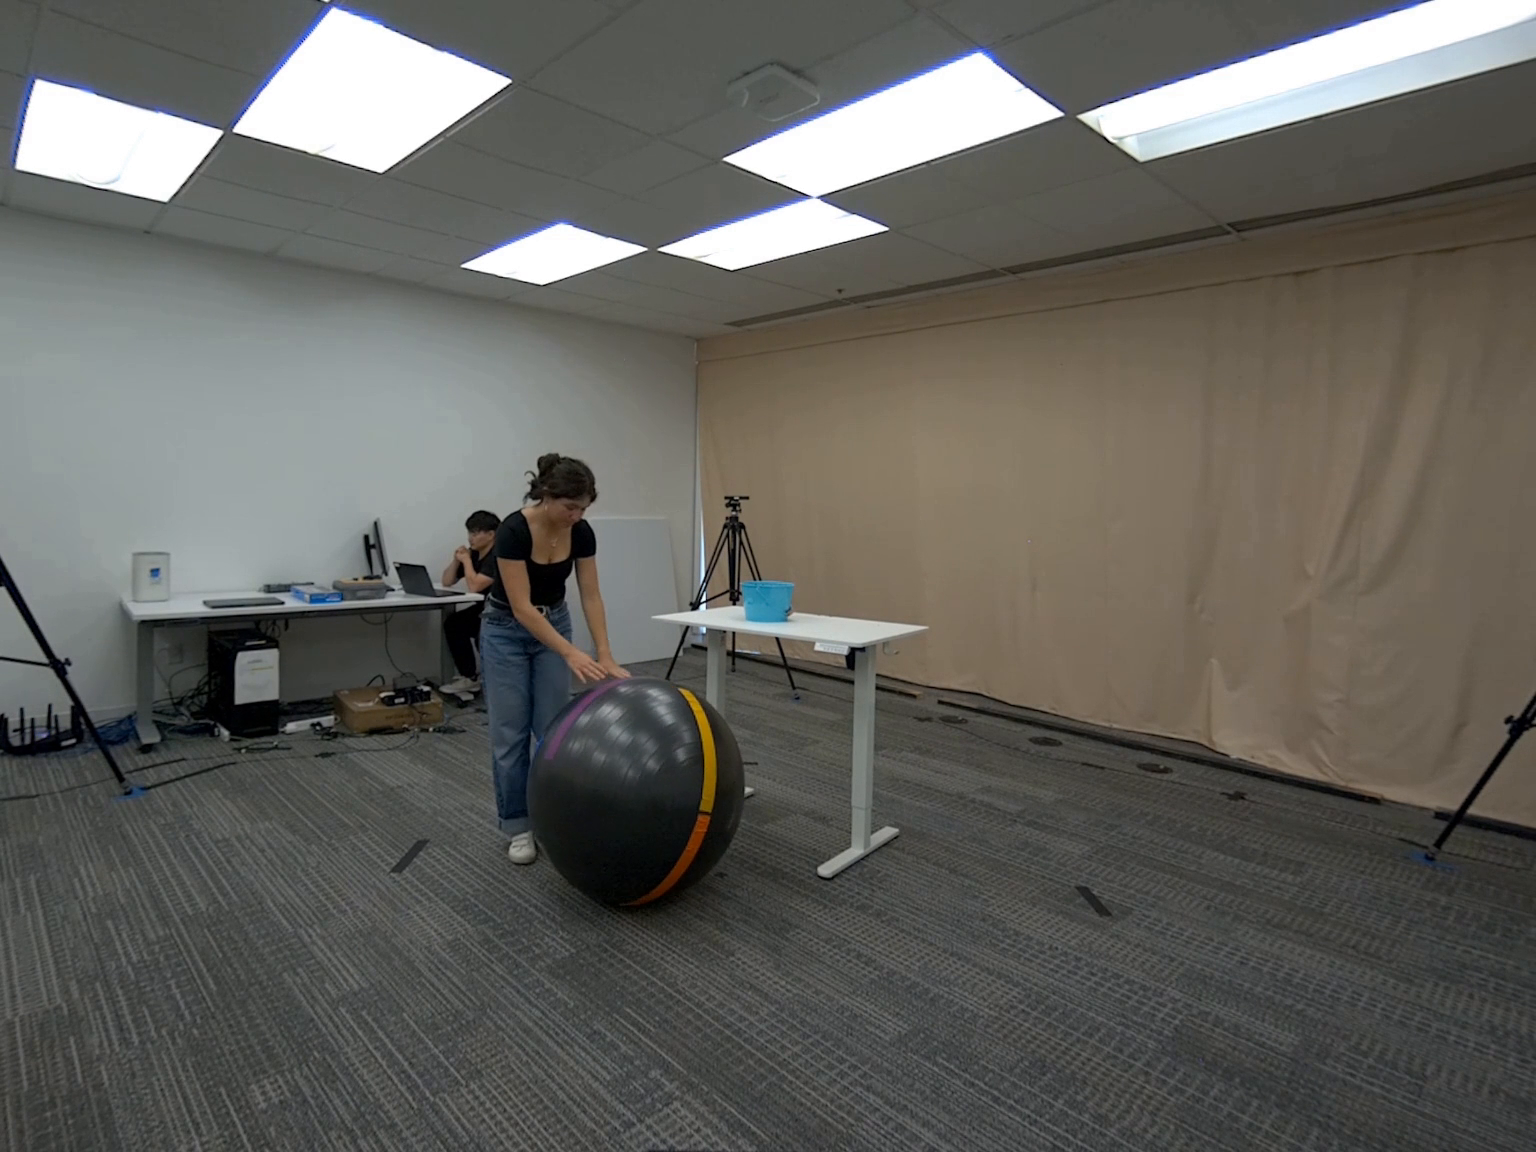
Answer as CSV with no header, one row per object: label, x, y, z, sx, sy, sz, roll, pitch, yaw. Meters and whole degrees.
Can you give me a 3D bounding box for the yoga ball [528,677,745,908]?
yoga ball,-0.461,0.747,2.951,0.757,0.756,0.761,1,4,-1
